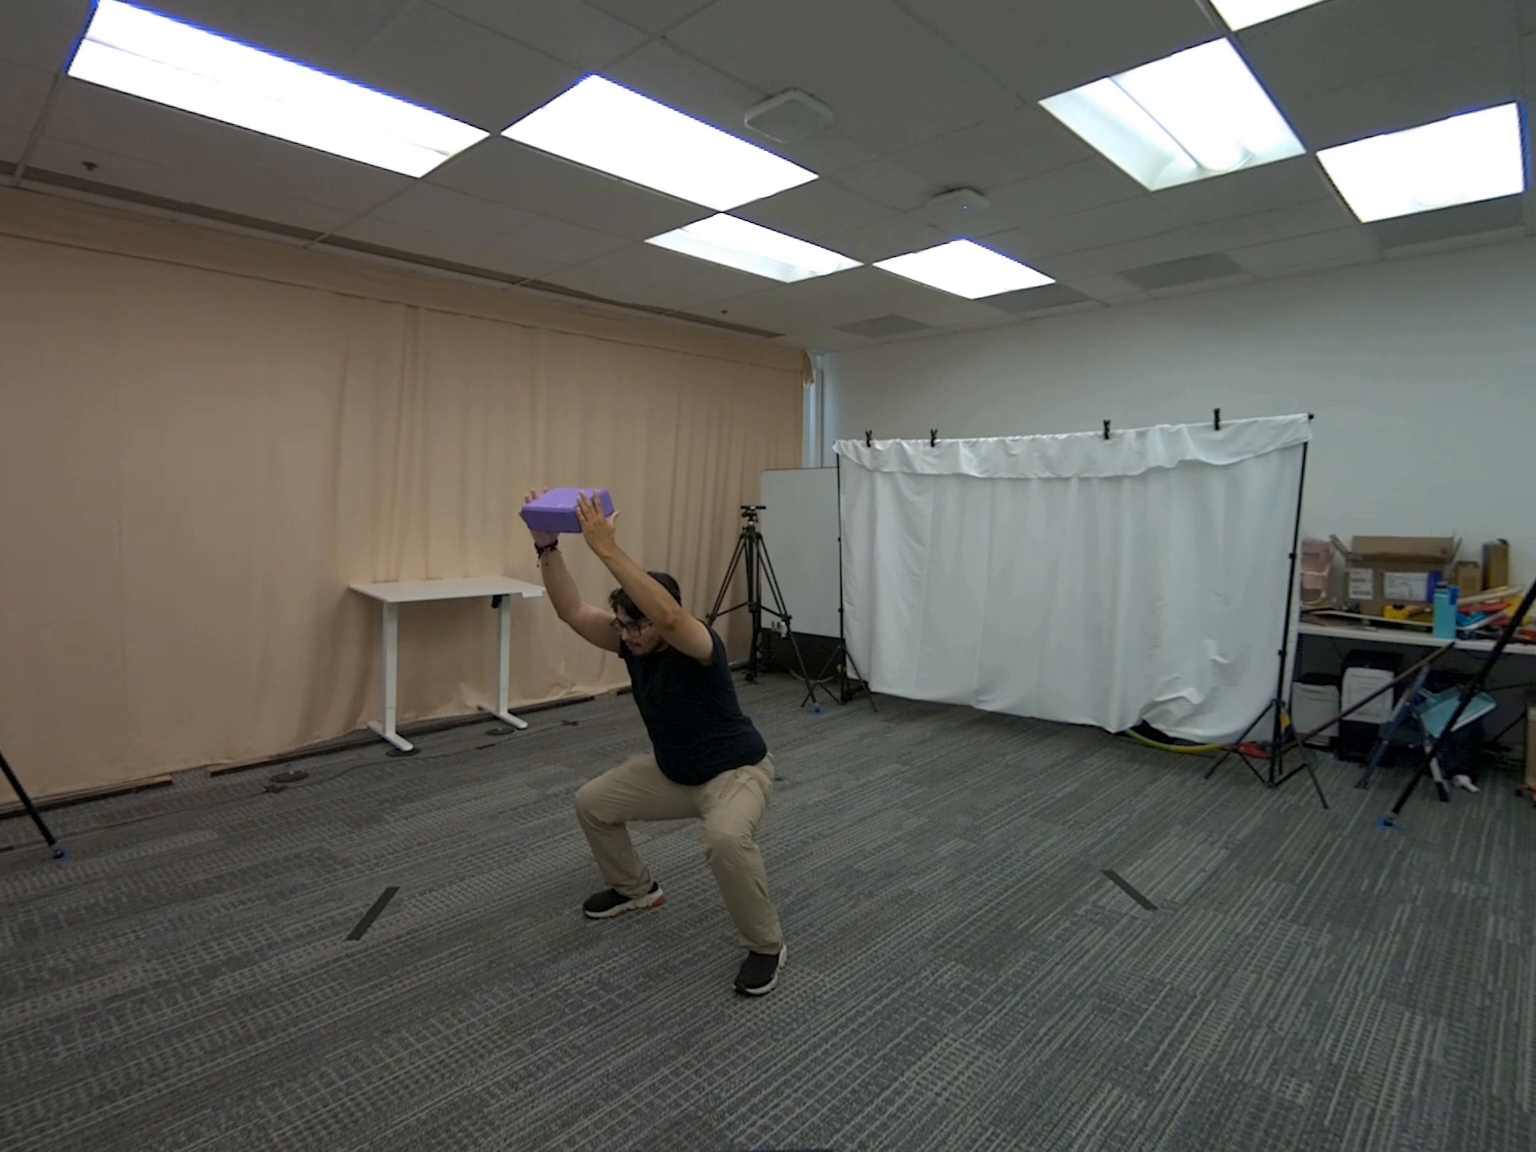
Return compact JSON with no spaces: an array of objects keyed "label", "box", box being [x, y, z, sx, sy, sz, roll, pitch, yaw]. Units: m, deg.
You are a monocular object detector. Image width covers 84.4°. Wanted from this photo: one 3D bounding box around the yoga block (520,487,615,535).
[{"label":"yoga block","box":[-0.556,-0.185,2.353,0.237,0.075,0.147,6,33,38]}]
